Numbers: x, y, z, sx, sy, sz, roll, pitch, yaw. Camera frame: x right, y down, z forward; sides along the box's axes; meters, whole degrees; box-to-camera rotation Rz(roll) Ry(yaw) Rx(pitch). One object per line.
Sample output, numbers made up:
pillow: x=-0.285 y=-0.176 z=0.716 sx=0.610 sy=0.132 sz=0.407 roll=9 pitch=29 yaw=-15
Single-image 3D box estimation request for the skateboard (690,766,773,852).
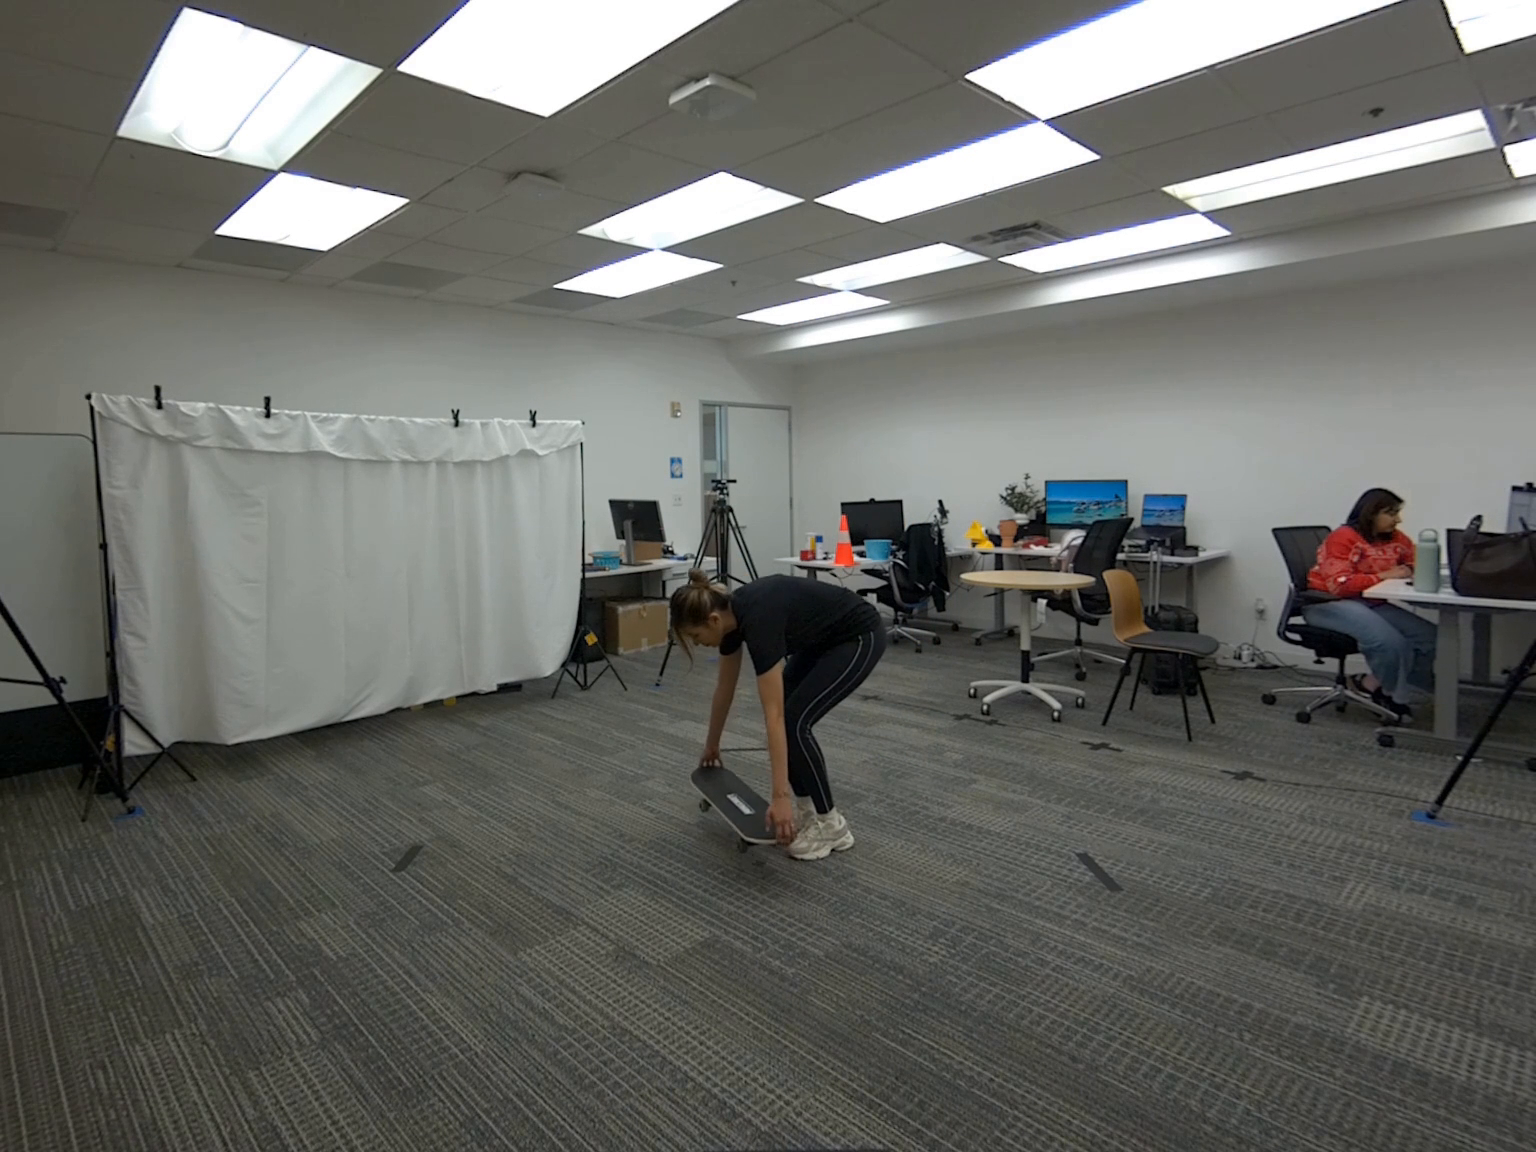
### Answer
skateboard: x=-0.099 y=0.877 z=3.188 sx=0.190 sy=0.110 sz=0.803 roll=-6 pitch=8 yaw=-21
